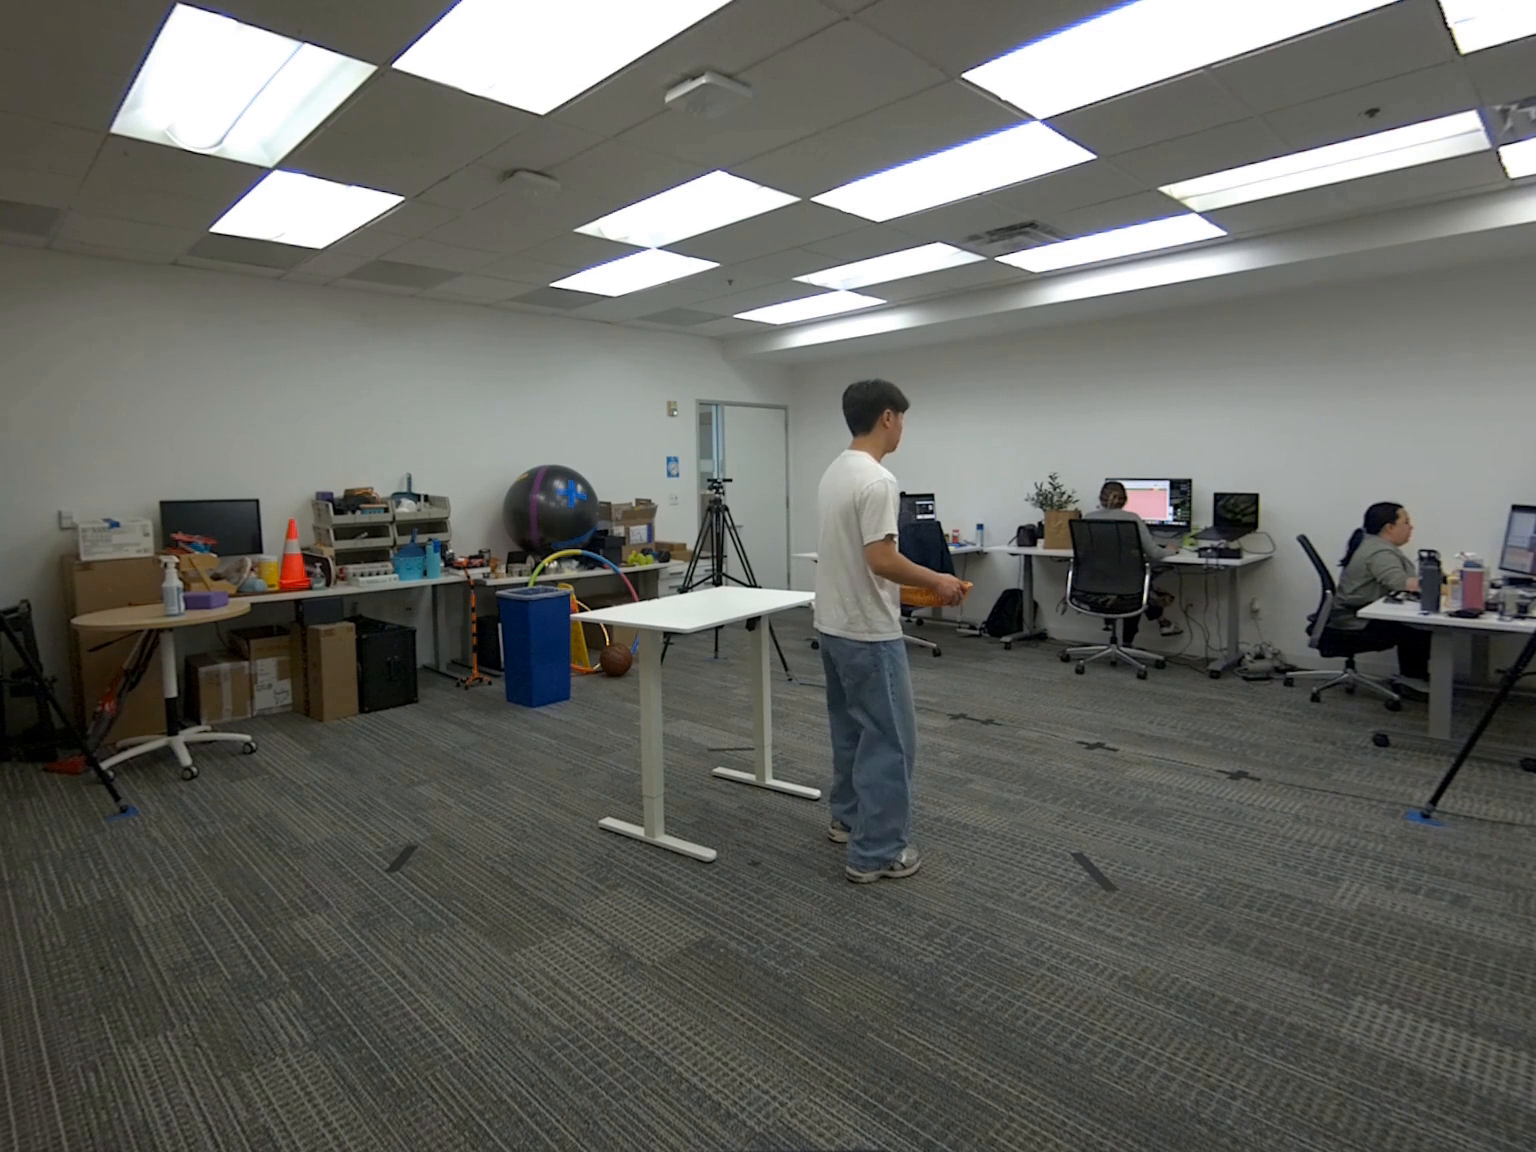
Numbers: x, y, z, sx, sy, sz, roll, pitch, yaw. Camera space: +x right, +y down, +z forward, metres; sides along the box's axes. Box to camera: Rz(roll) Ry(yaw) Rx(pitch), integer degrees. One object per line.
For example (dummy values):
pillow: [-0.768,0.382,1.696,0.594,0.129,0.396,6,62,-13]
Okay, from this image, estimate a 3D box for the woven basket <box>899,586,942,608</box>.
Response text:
woven basket: [0.583,0.061,3.128,0.250,0.073,0.353,-4,3,-9]
